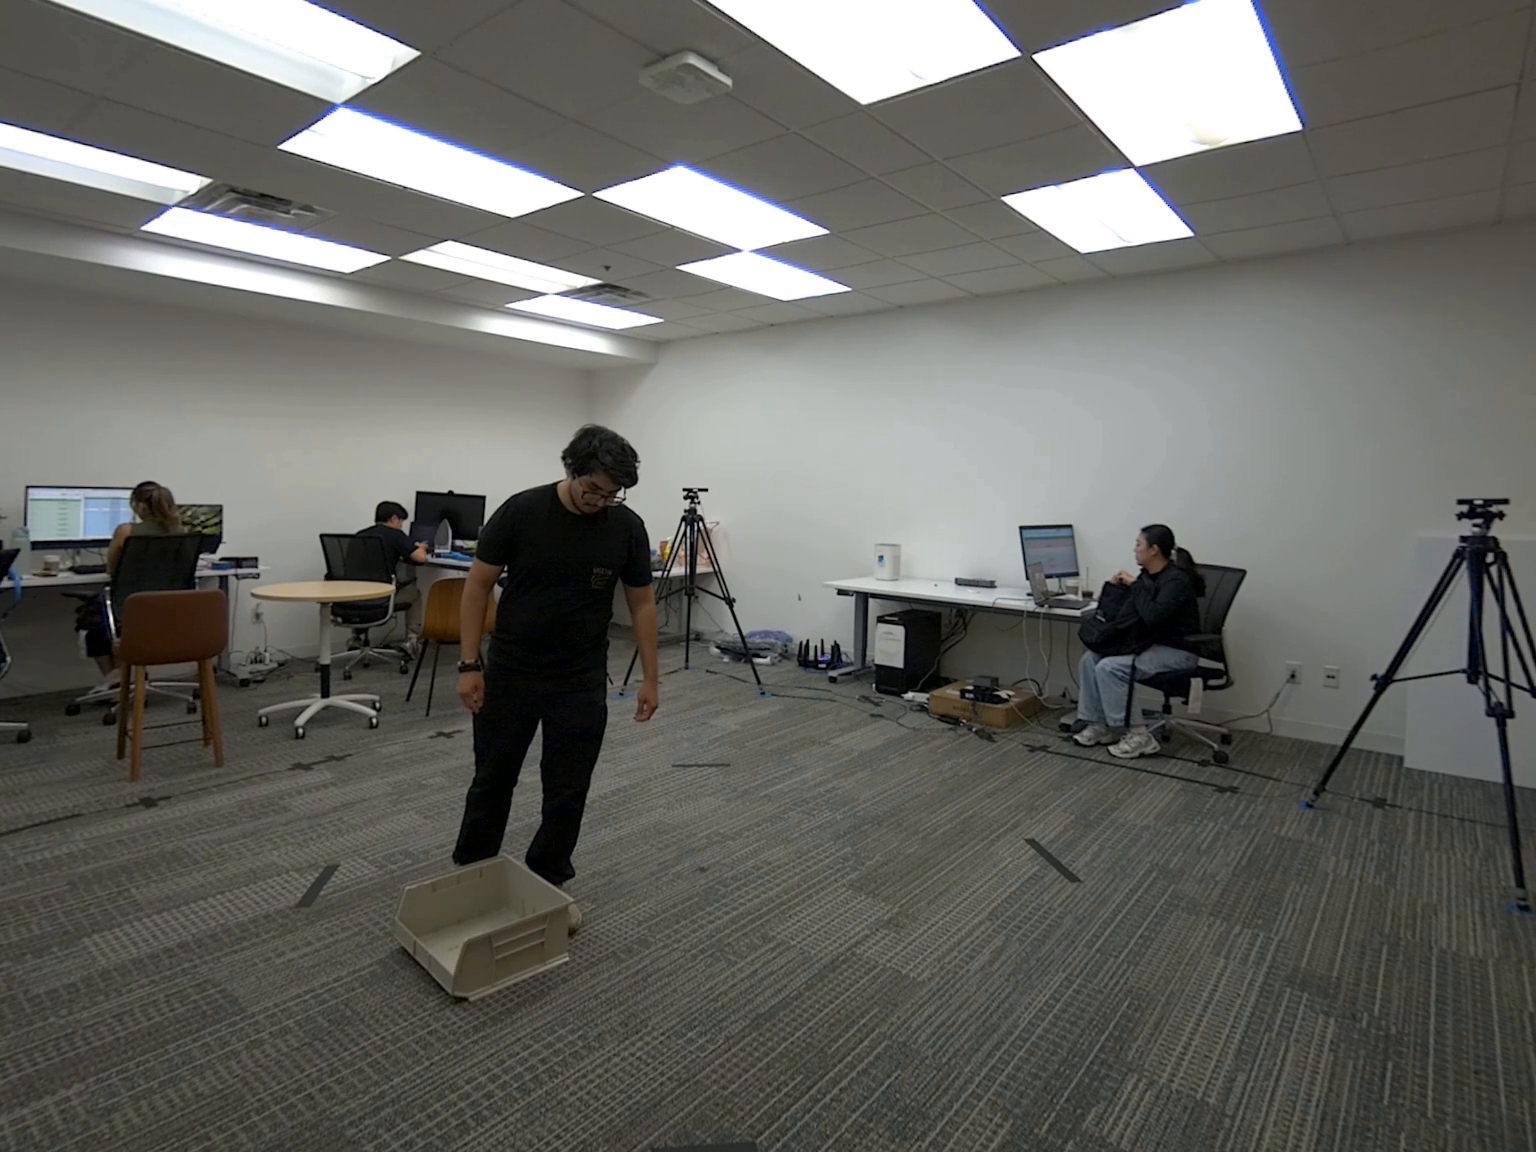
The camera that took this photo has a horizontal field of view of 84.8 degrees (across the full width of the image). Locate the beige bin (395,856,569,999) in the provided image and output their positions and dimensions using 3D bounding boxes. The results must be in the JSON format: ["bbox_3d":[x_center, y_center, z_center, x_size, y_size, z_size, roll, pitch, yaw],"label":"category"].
[{"bbox_3d":[-0.859,1.029,2.517,0.366,0.188,0.437,-3,5,-45],"label":"beige bin"}]
